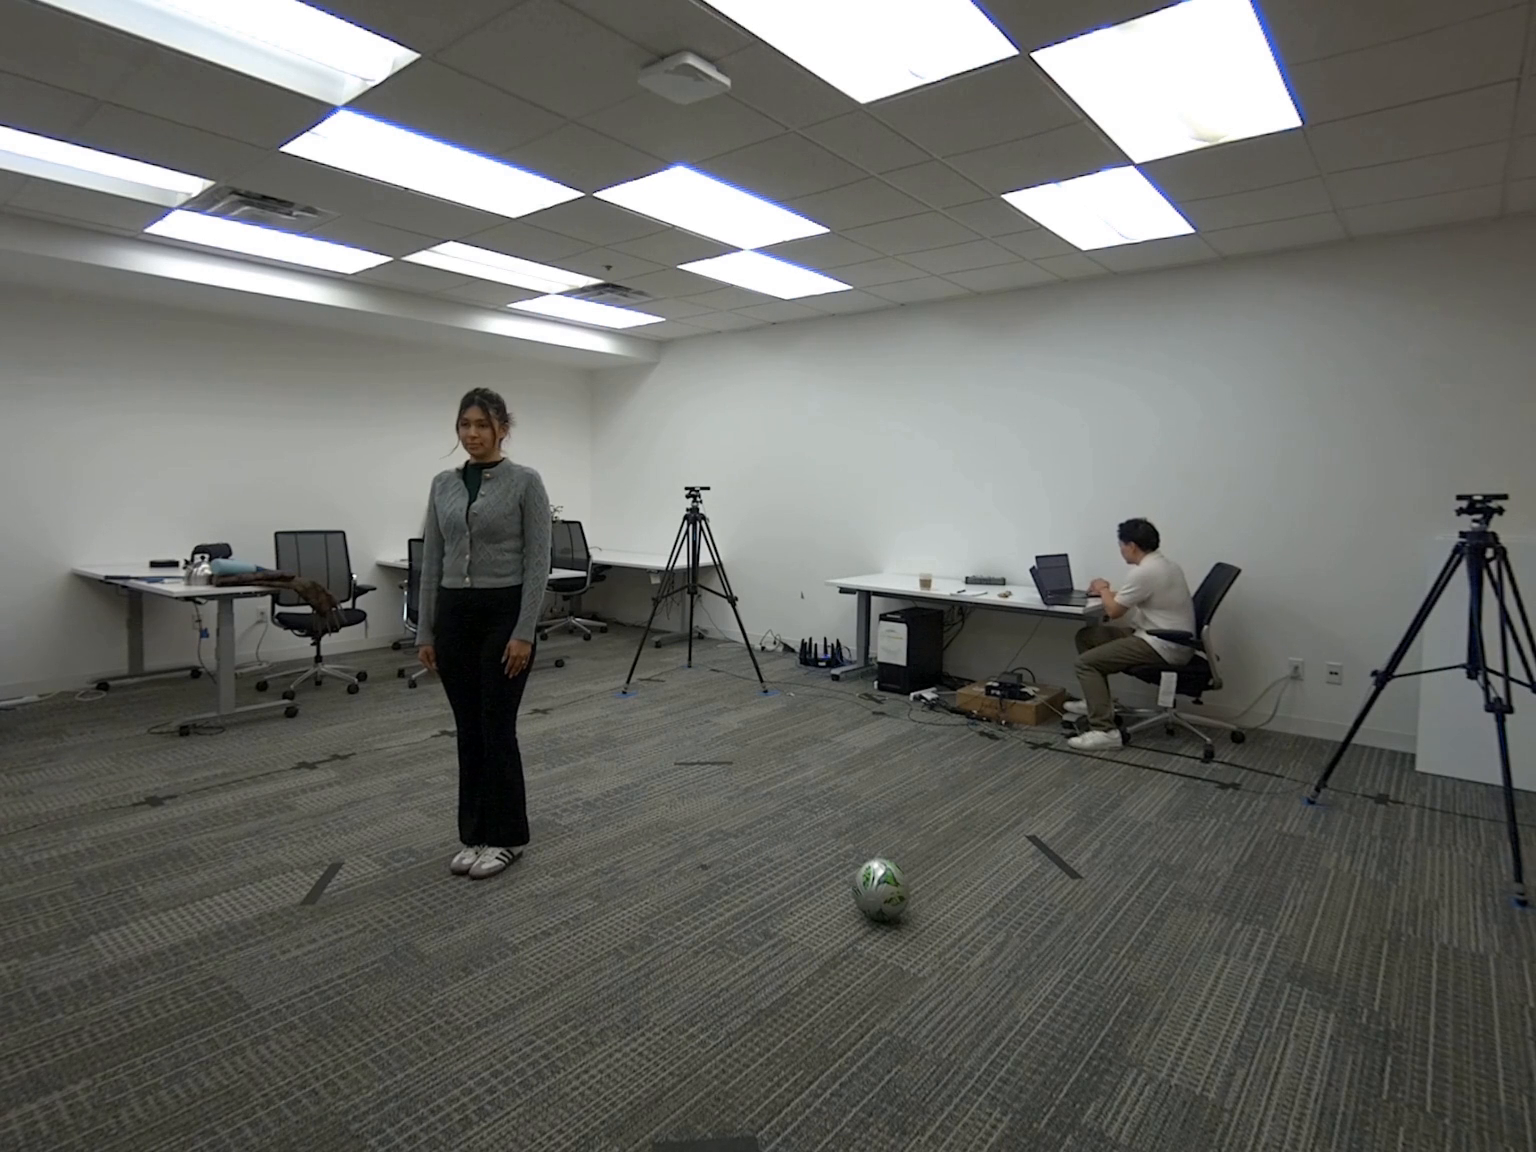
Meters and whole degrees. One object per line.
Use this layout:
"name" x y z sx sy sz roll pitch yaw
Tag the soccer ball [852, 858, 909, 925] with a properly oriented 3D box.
"soccer ball" 0.361 1.016 2.773 0.187 0.187 0.188 1 4 -2
